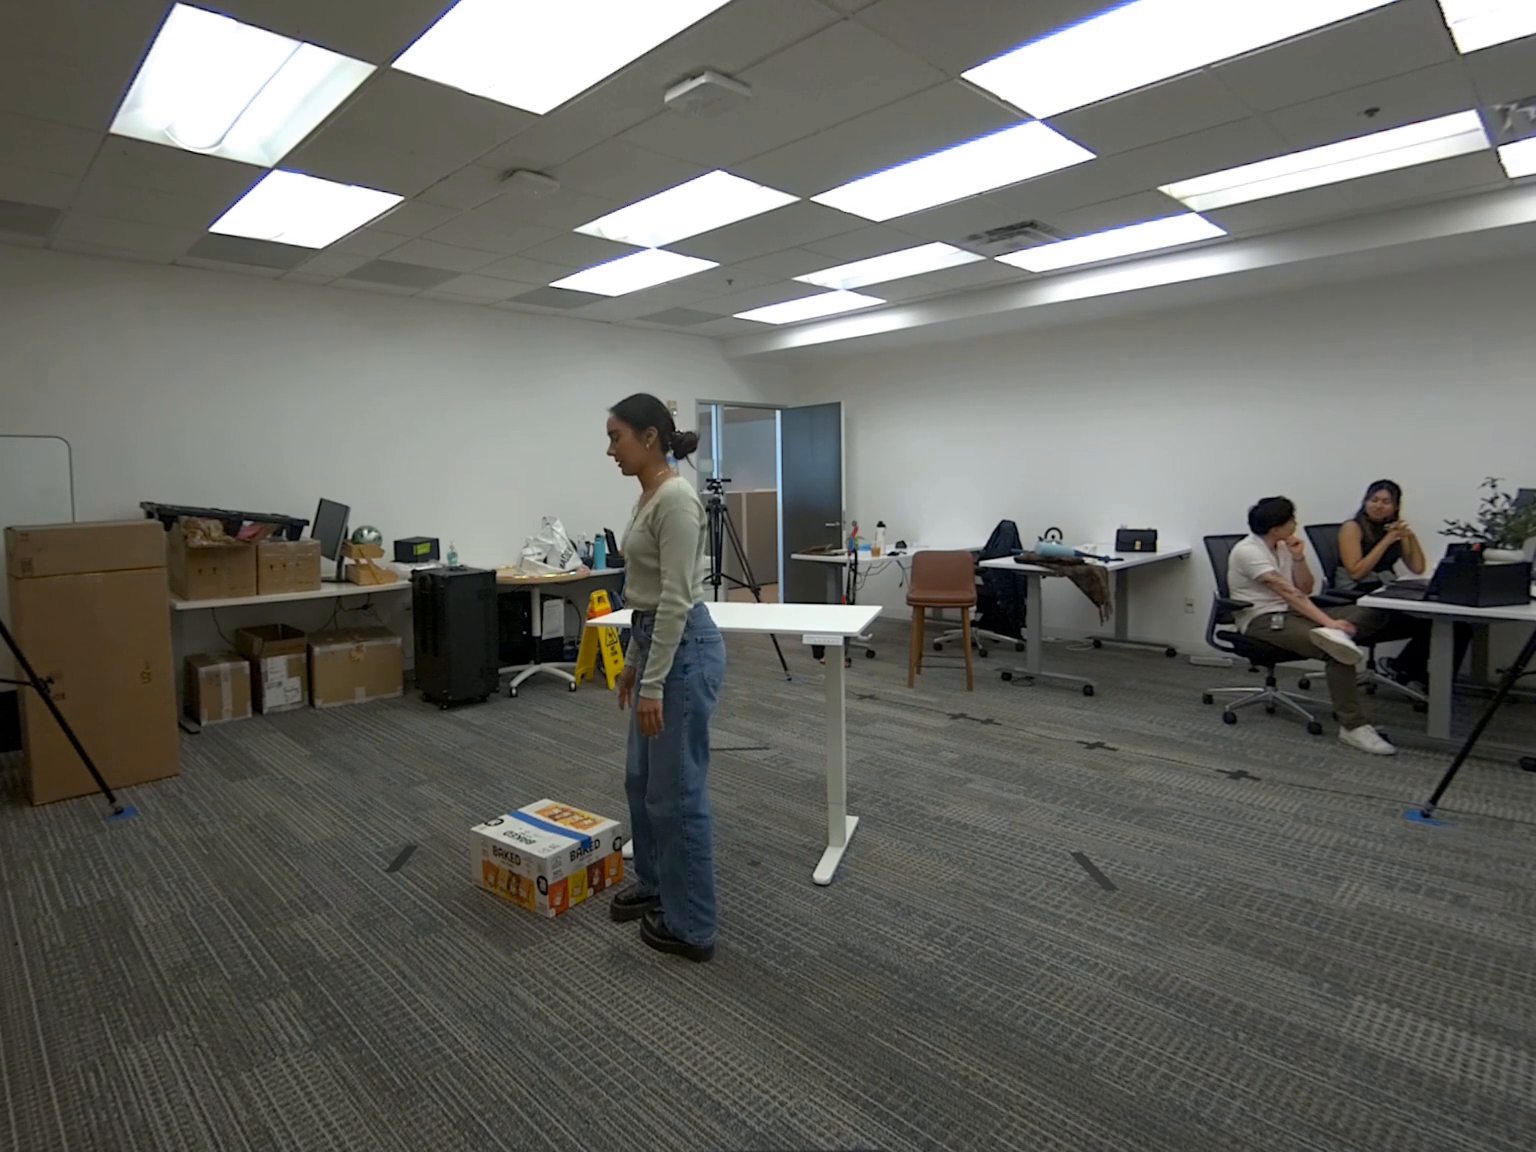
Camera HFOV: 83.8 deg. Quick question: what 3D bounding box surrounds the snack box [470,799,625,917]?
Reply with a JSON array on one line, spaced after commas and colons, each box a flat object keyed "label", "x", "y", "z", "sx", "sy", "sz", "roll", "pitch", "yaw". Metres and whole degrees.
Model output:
[{"label": "snack box", "x": -0.771, "y": 0.973, "z": 2.983, "sx": 0.417, "sy": 0.205, "sz": 0.332, "roll": 3, "pitch": 7, "yaw": 37}]
